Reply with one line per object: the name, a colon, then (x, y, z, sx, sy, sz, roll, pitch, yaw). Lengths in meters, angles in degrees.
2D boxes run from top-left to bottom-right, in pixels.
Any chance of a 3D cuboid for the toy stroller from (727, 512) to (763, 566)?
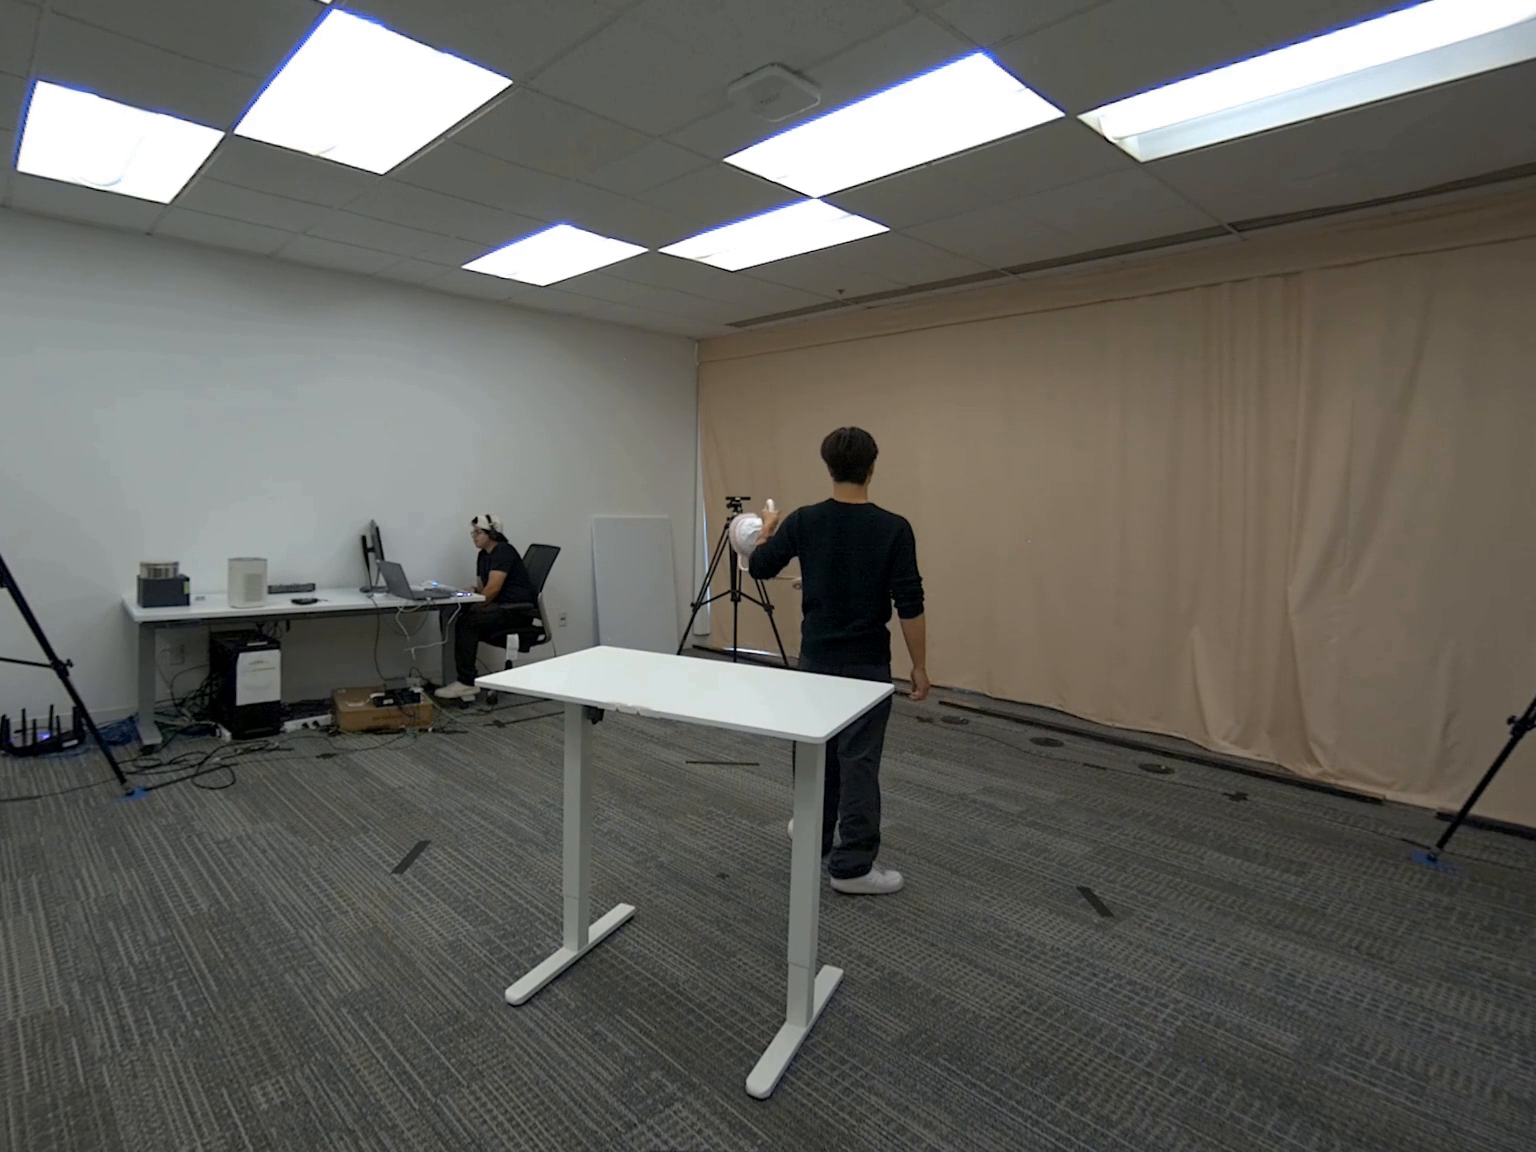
toy stroller: (-0.006, -0.129, 3.734, 0.348, 0.284, 0.518, -3, -21, 32)
